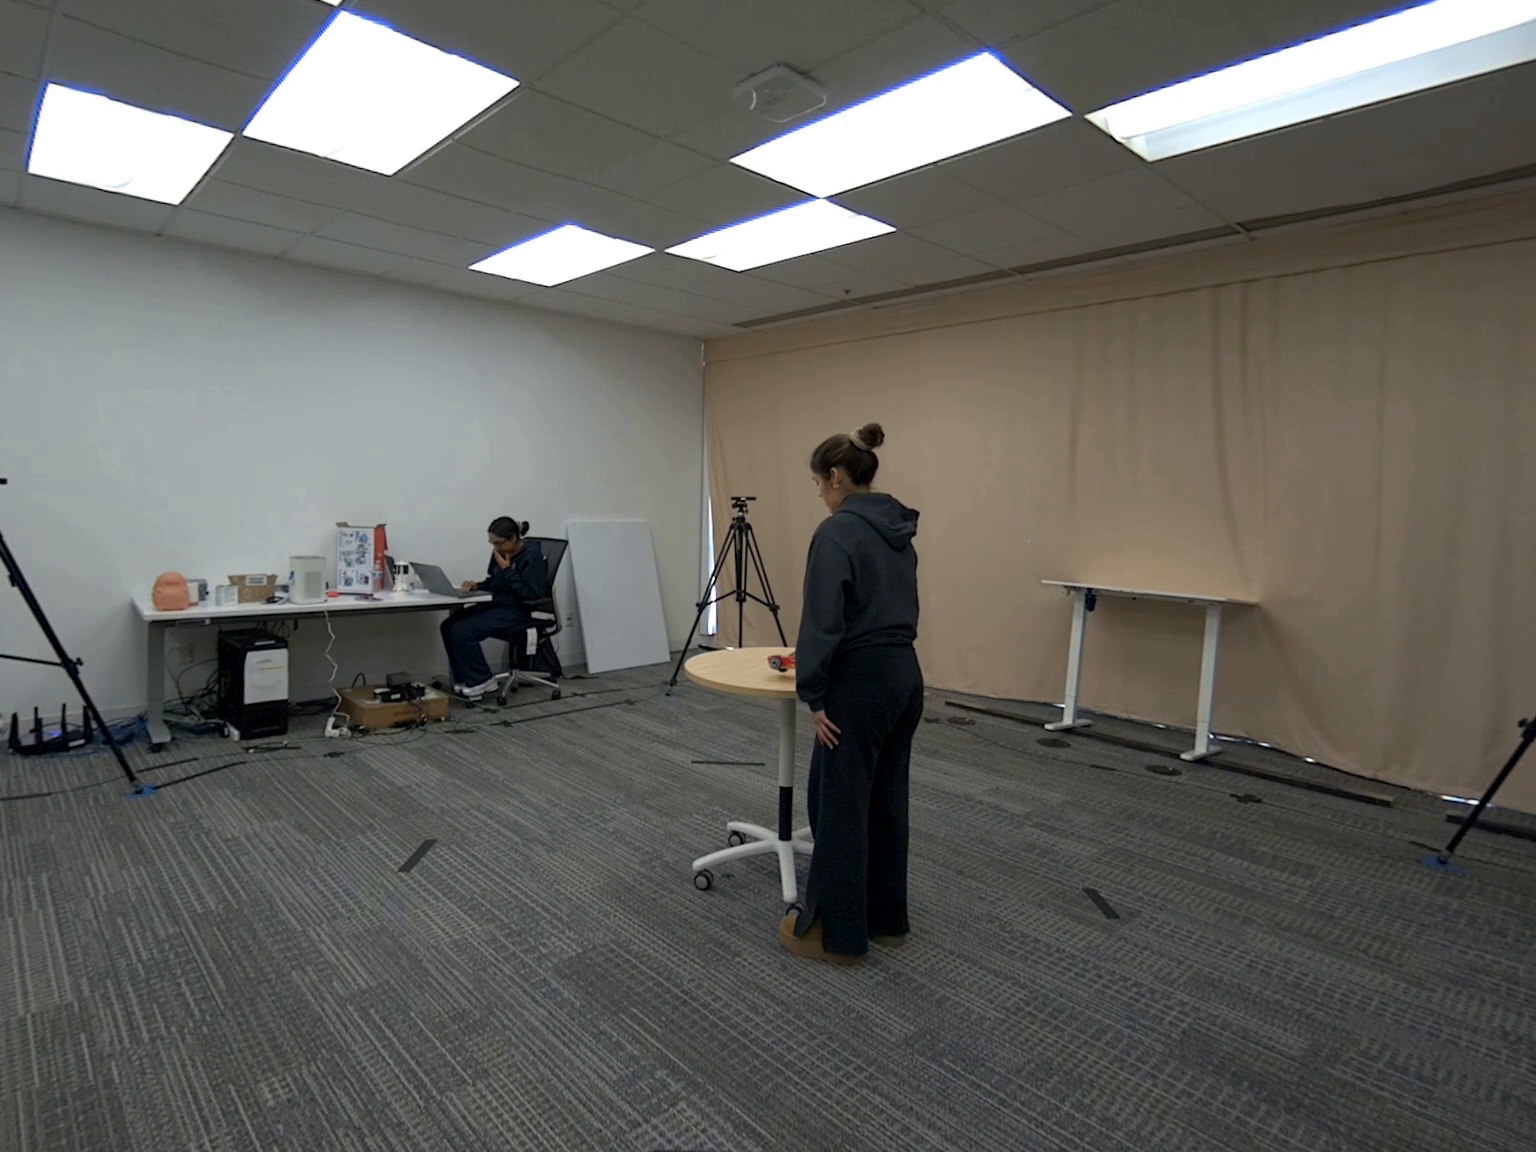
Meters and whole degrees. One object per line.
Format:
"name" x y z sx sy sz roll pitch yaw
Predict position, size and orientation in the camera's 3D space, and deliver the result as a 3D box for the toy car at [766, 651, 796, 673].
"toy car" 0.118 0.296 2.868 0.257 0.084 0.127 -9 -16 15
